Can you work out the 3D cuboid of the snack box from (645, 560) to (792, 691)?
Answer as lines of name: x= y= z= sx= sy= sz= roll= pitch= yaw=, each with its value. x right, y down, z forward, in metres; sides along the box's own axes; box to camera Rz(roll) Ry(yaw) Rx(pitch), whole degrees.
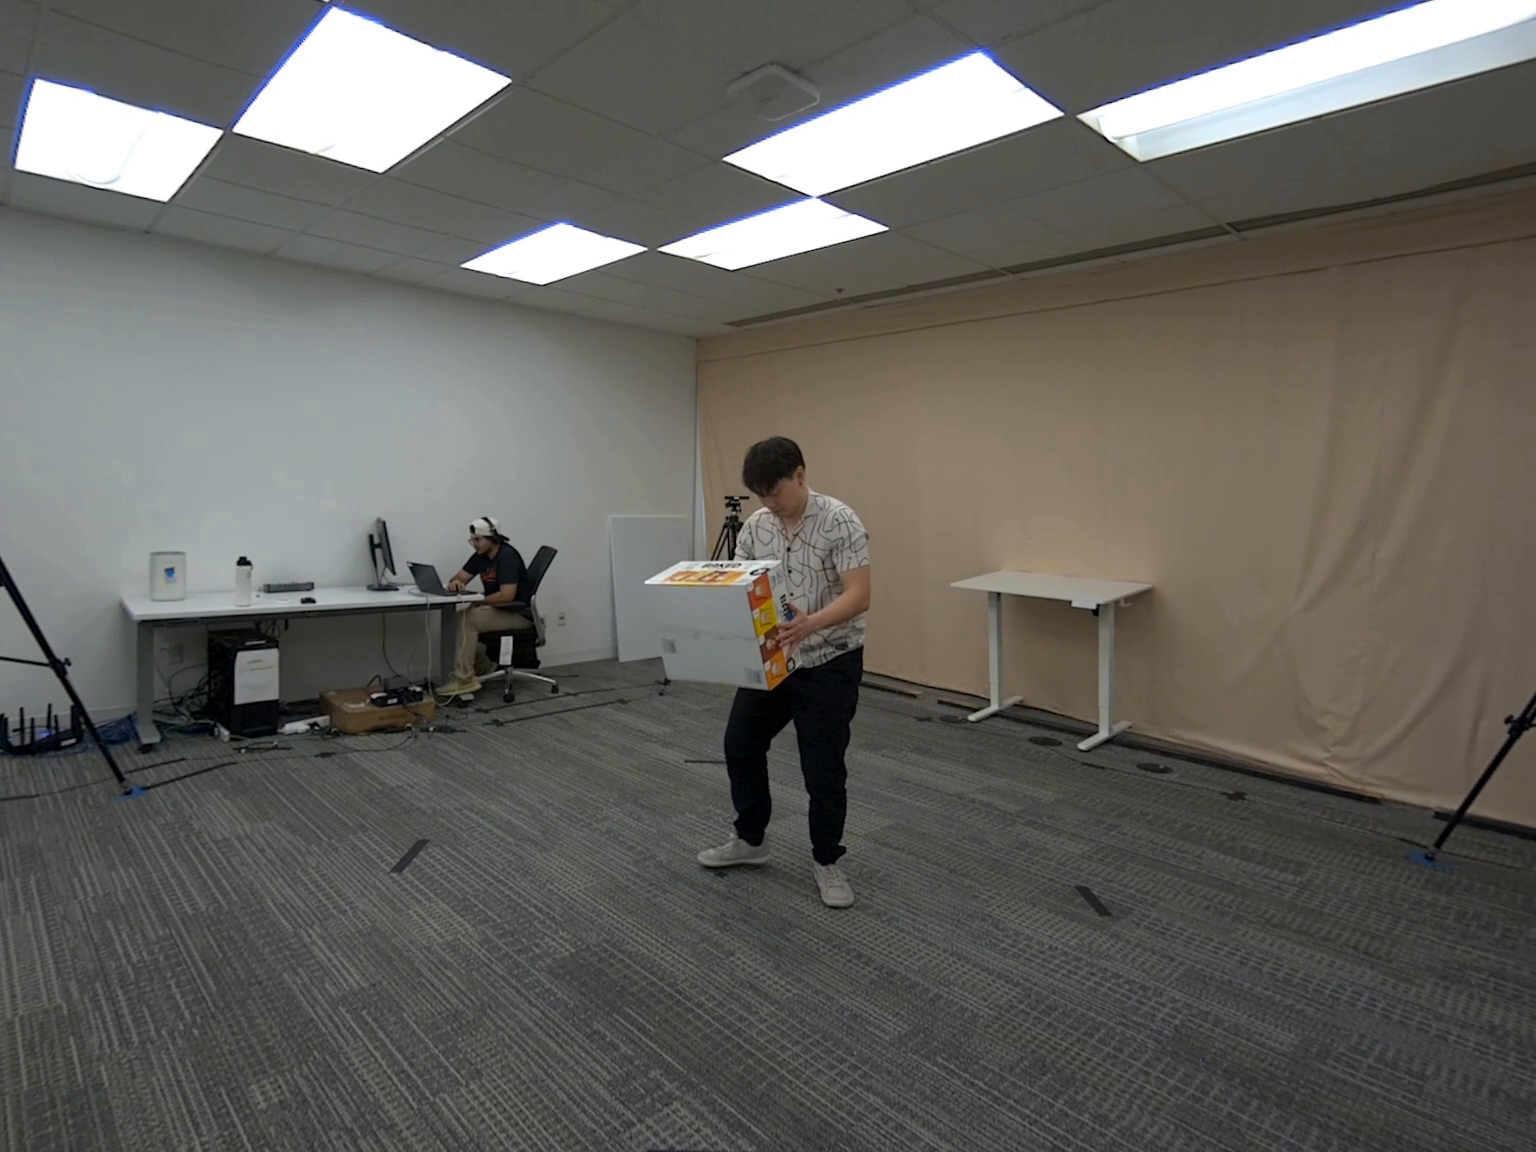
snack box: x=-0.159 y=0.147 z=2.645 sx=0.414 sy=0.336 sz=0.203 roll=0 pitch=18 yaw=36
